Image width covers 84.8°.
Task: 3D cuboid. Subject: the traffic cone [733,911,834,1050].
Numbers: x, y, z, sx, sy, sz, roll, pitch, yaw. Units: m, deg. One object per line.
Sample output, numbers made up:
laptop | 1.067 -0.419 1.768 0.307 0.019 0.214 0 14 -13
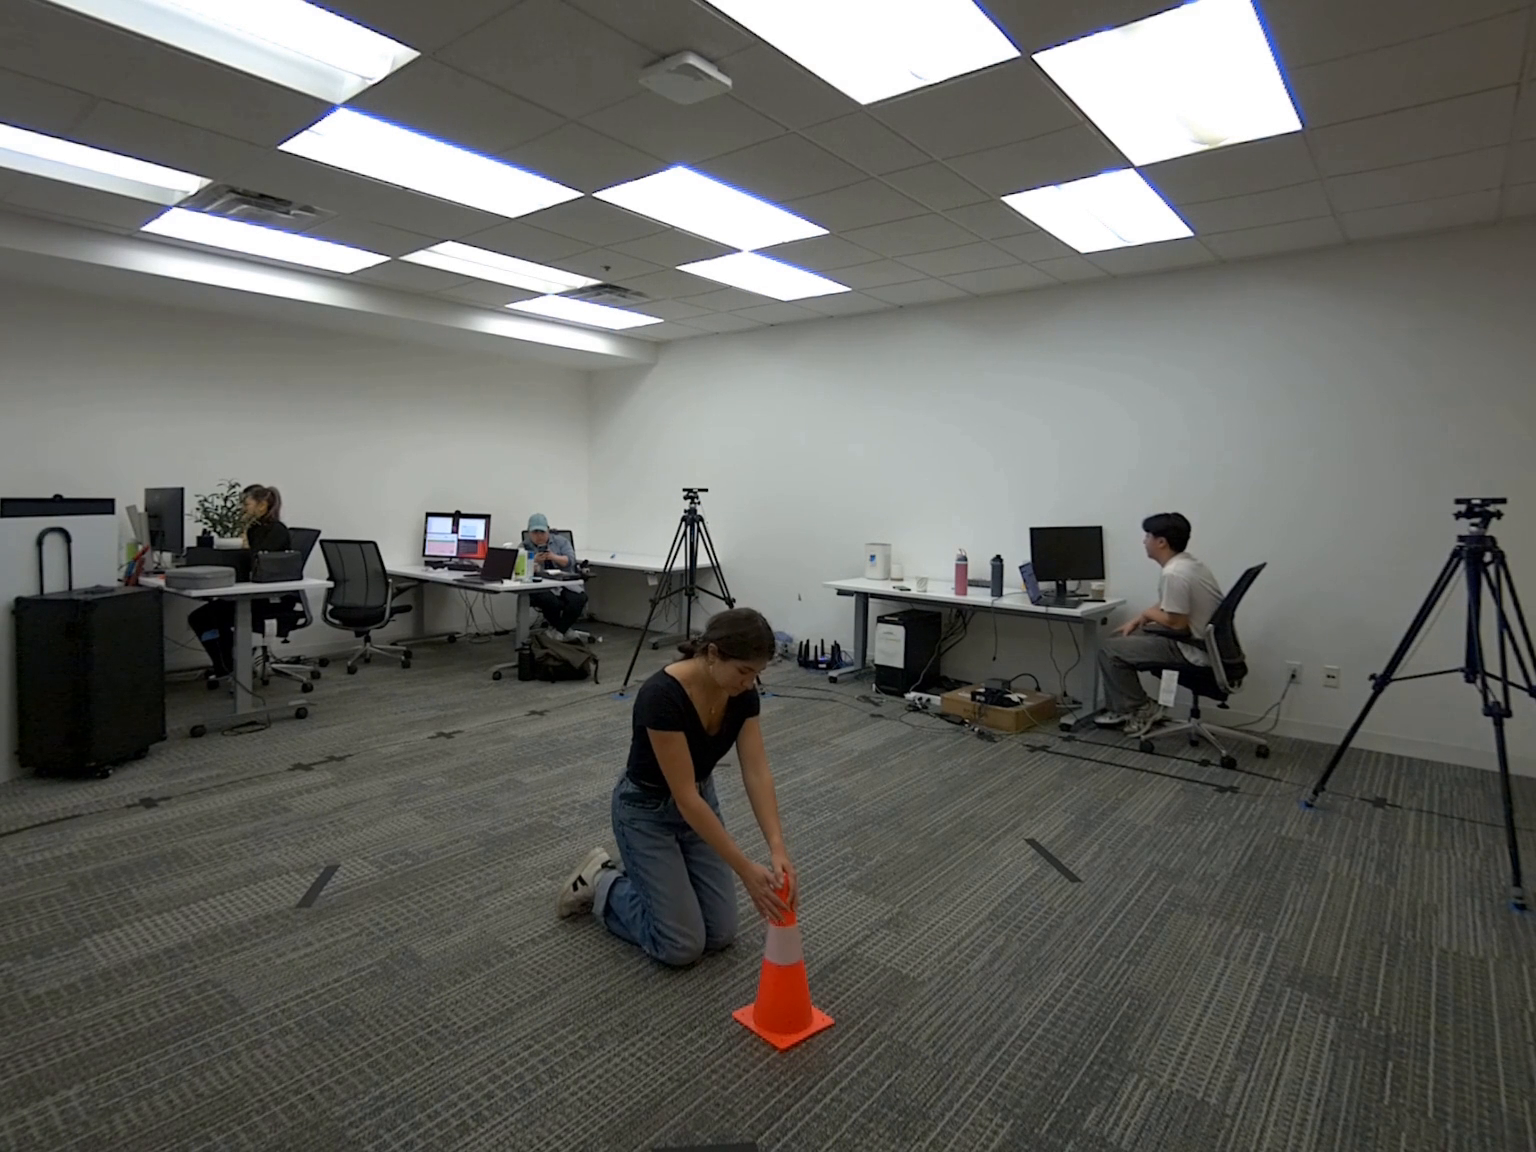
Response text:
traffic cone | 0.036 0.970 2.233 0.199 0.383 0.209 -4 2 -37
